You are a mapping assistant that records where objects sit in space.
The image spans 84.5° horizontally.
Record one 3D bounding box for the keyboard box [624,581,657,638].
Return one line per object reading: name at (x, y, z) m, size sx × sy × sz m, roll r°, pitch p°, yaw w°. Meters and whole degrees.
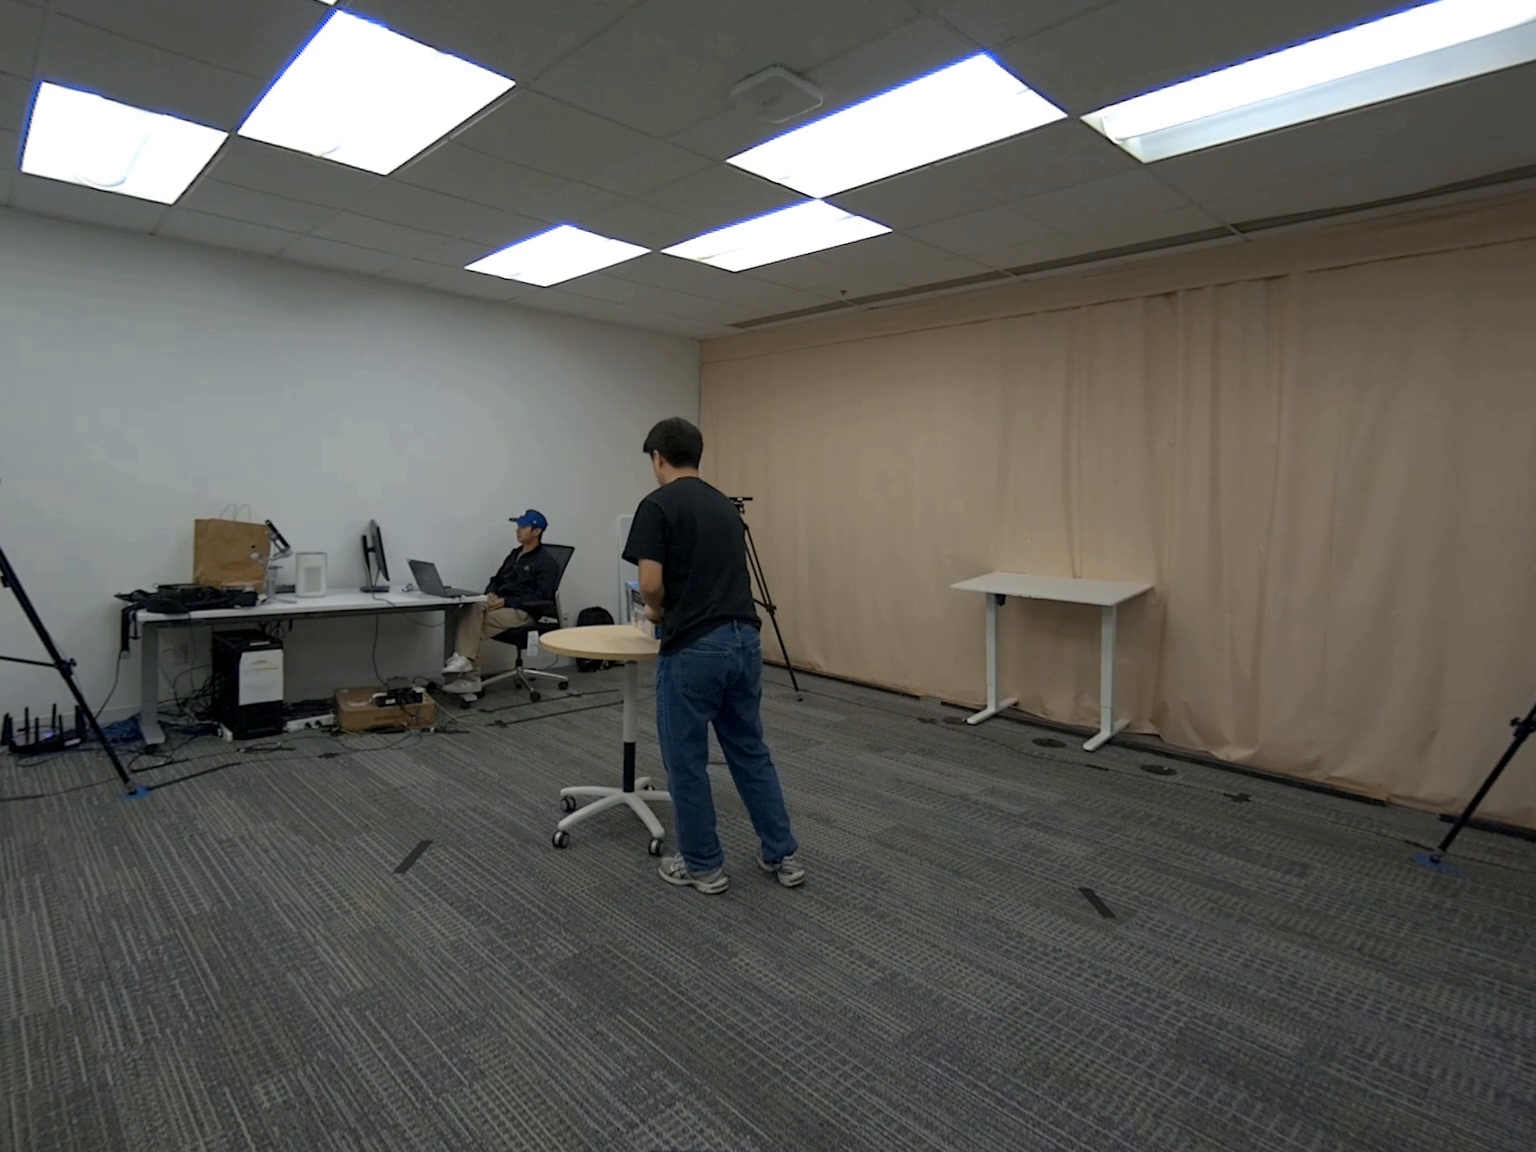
keyboard box at (-0.488, 0.135, 3.368) m, size 0.058 × 0.175 × 0.446 m, roll -5°, pitch 8°, yaw -23°
